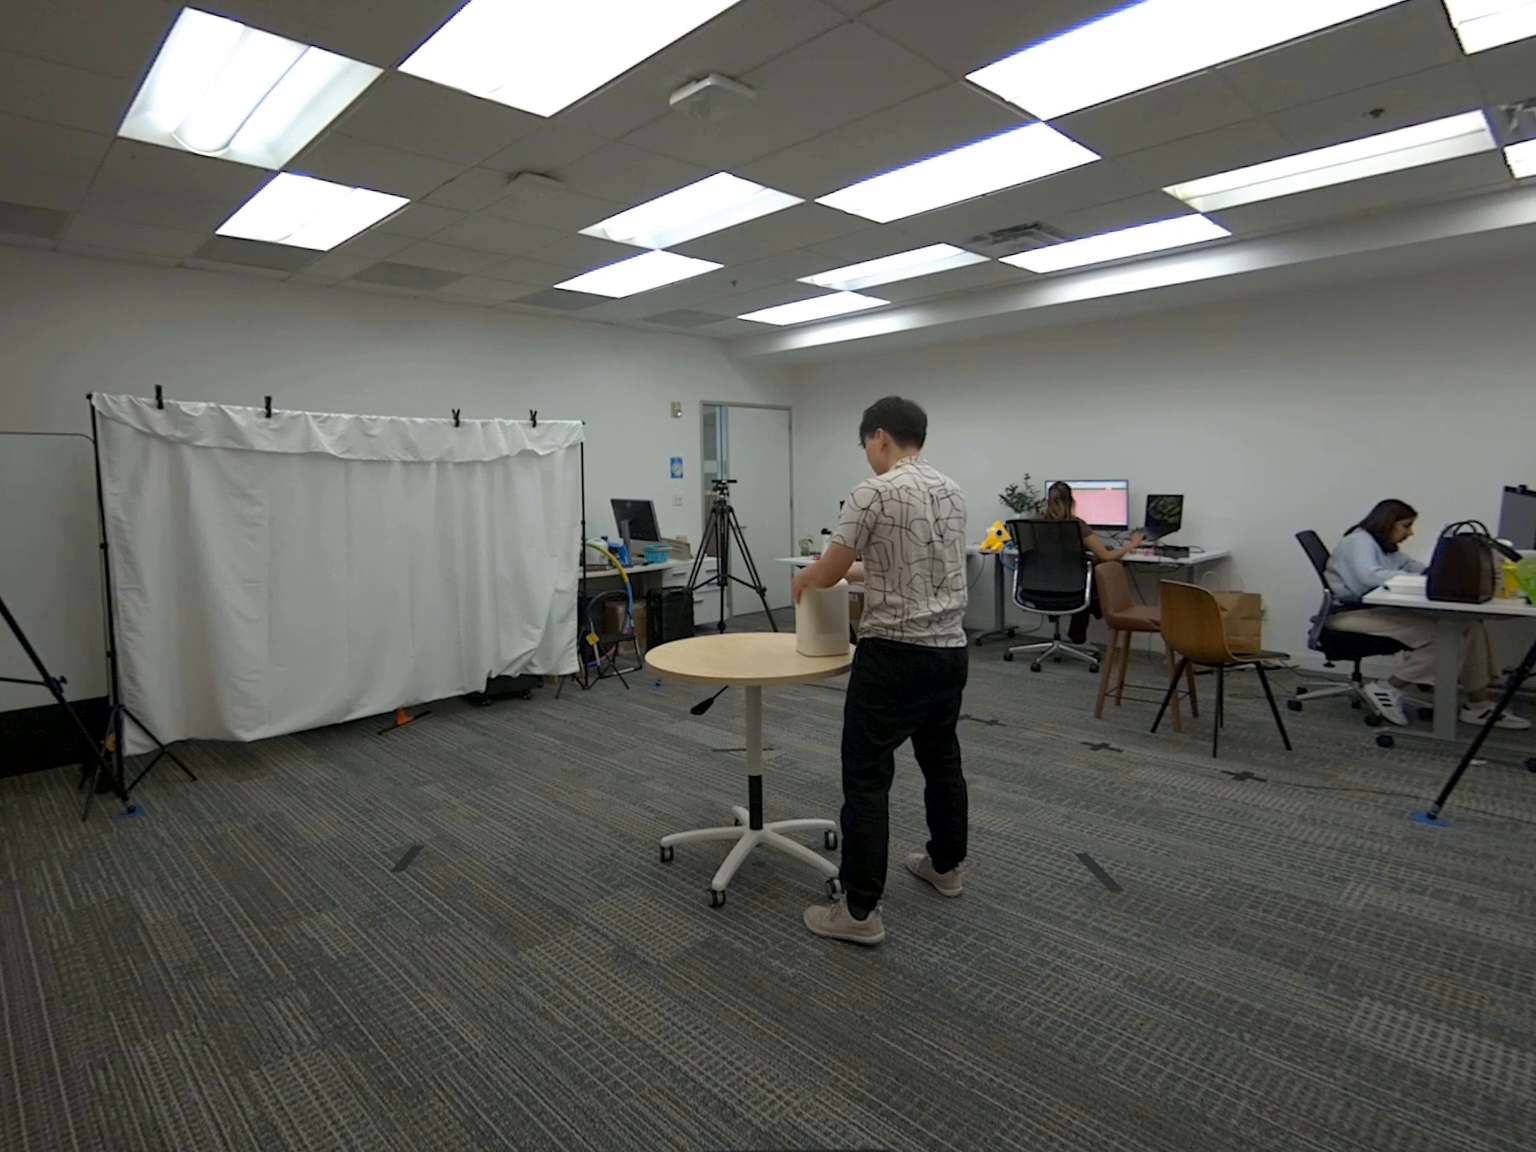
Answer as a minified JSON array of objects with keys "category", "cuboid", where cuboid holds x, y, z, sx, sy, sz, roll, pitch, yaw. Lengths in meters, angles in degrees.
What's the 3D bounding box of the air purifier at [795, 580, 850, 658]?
[{"category":"air purifier","cuboid":[0.191,0.138,3.020,0.170,0.264,0.173,-3,7,-9]}]
